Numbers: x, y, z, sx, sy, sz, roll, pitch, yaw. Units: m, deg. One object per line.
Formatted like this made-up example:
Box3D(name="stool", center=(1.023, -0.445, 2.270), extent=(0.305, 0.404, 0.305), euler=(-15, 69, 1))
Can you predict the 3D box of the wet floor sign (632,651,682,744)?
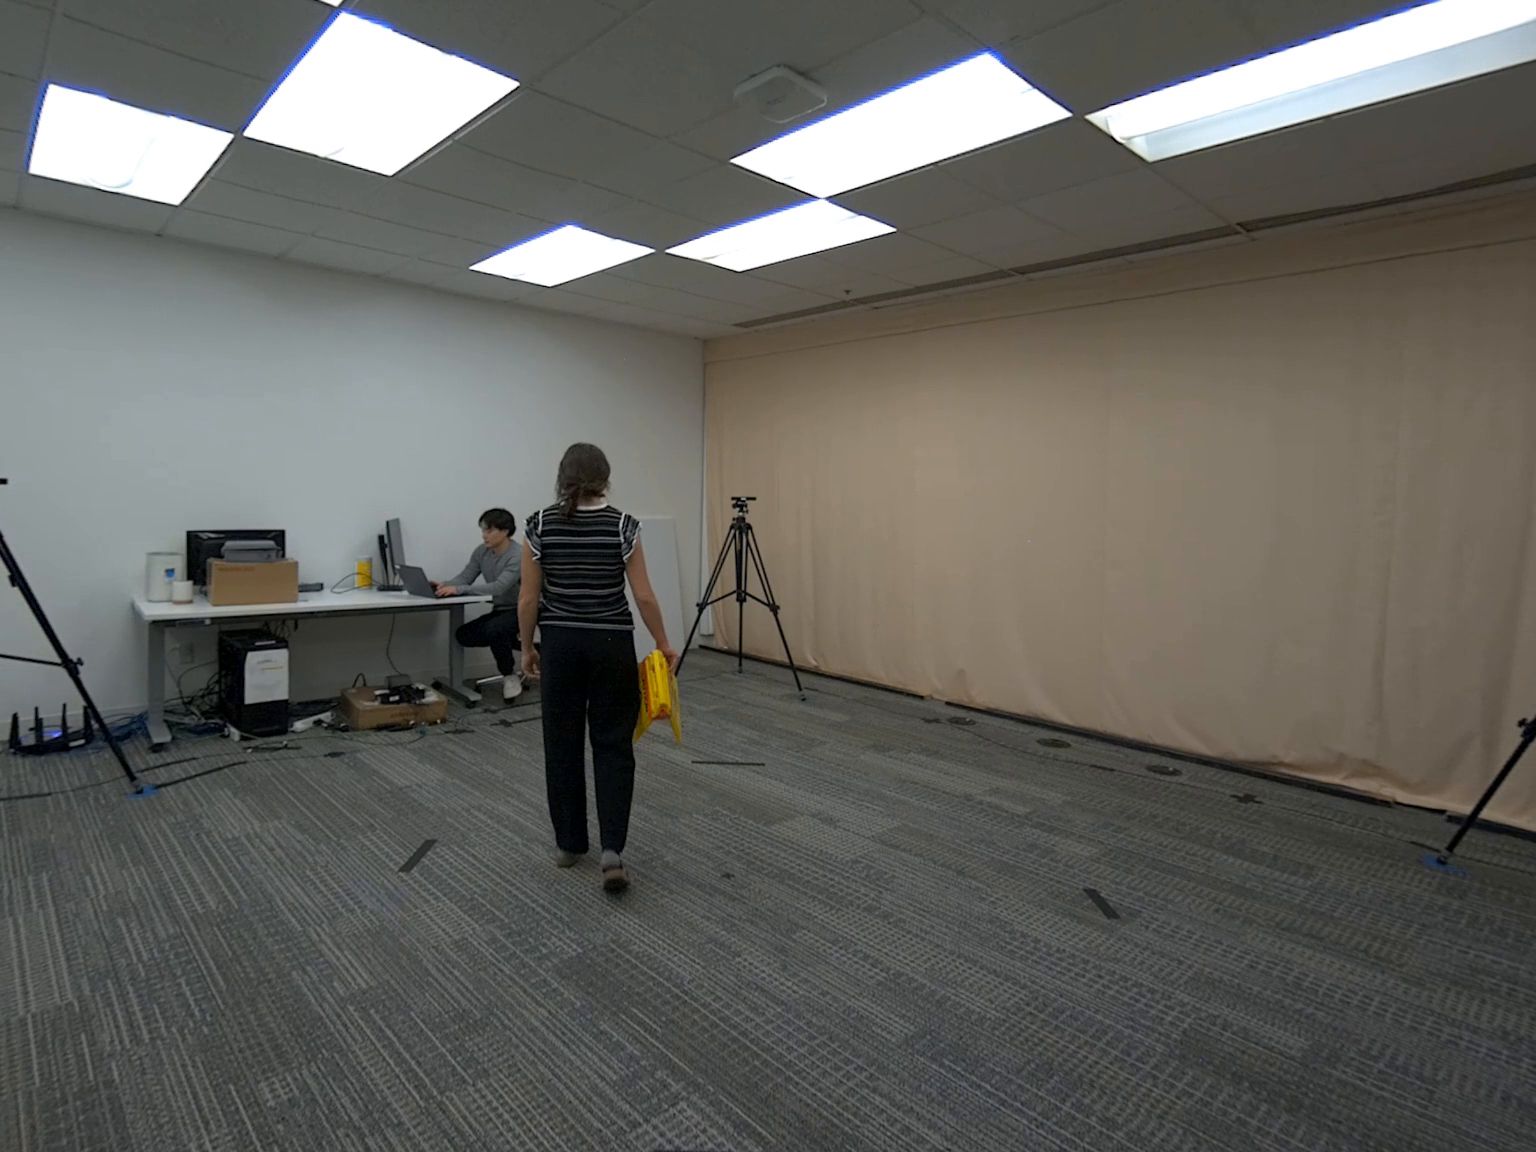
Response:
Box3D(name="wet floor sign", center=(-0.440, 0.470, 3.219), extent=(0.287, 0.287, 0.641), euler=(-3, -22, -14))
